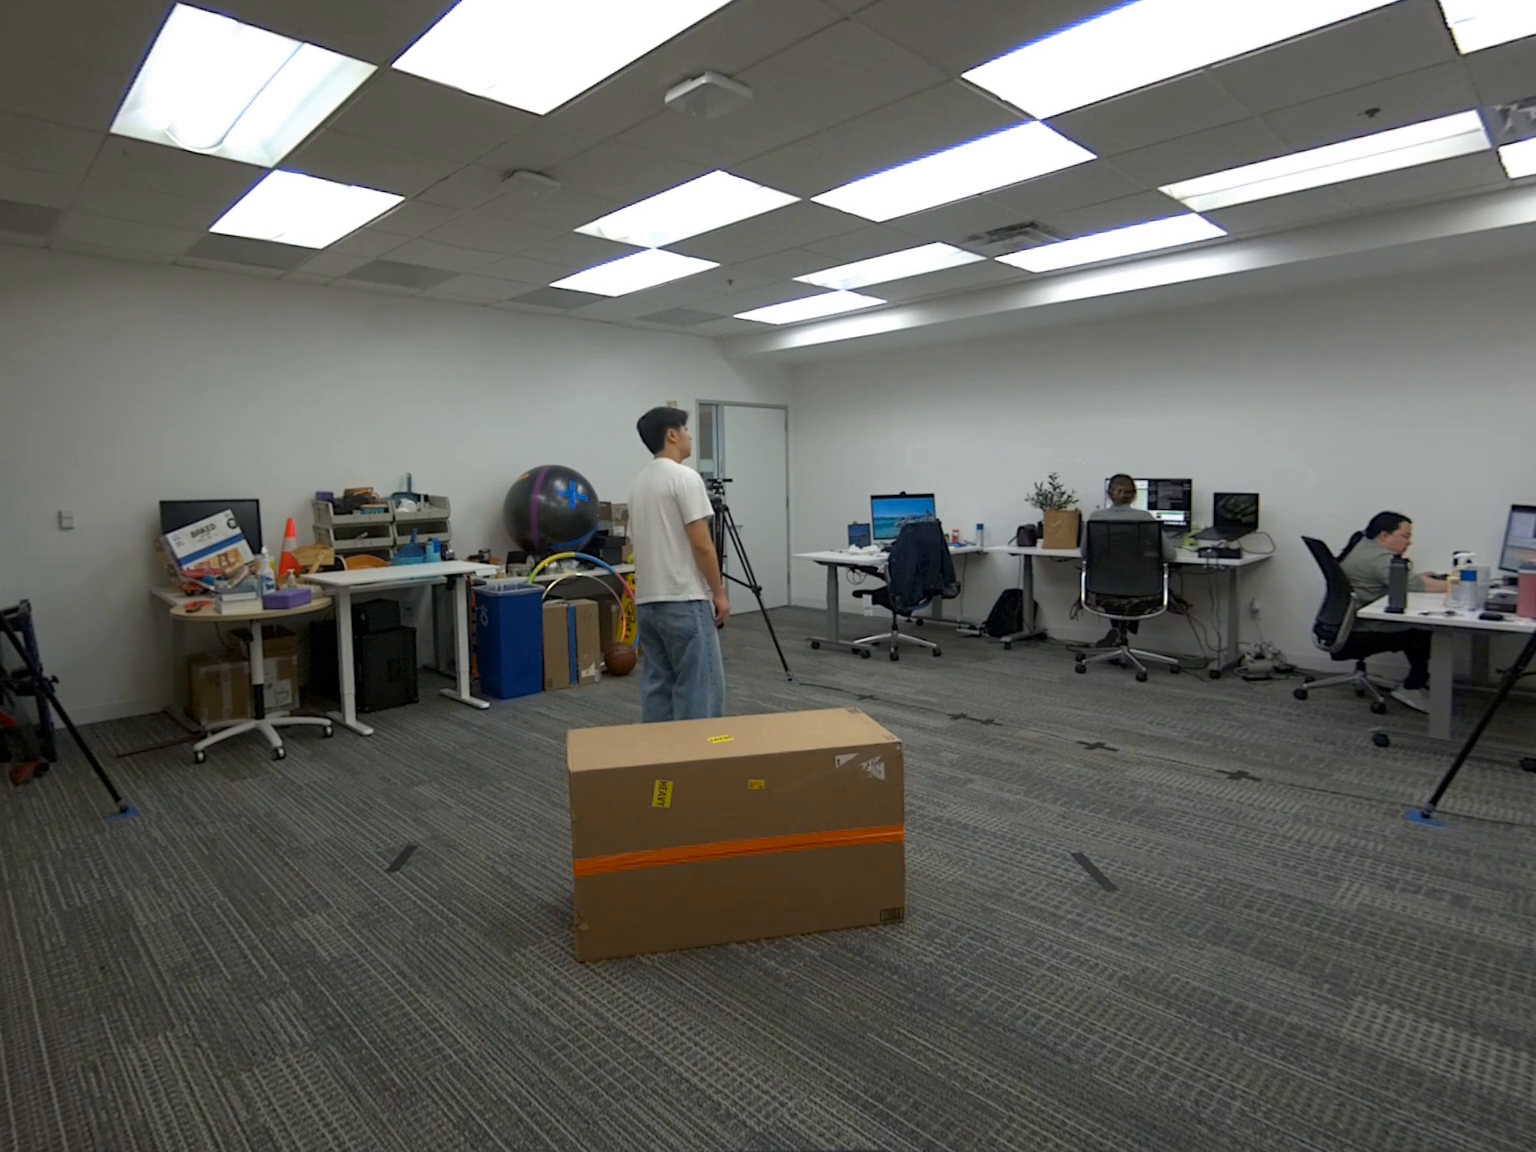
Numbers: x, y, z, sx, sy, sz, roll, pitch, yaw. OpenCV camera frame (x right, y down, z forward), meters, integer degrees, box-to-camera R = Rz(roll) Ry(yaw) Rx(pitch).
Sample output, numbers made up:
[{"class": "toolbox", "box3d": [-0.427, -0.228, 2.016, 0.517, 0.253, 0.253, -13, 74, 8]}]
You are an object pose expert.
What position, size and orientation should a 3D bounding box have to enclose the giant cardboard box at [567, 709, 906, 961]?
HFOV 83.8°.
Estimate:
[{"class": "giant cardboard box", "box3d": [-0.116, 0.796, 2.764, 1.015, 0.575, 0.432, -3, 4, -12]}]
